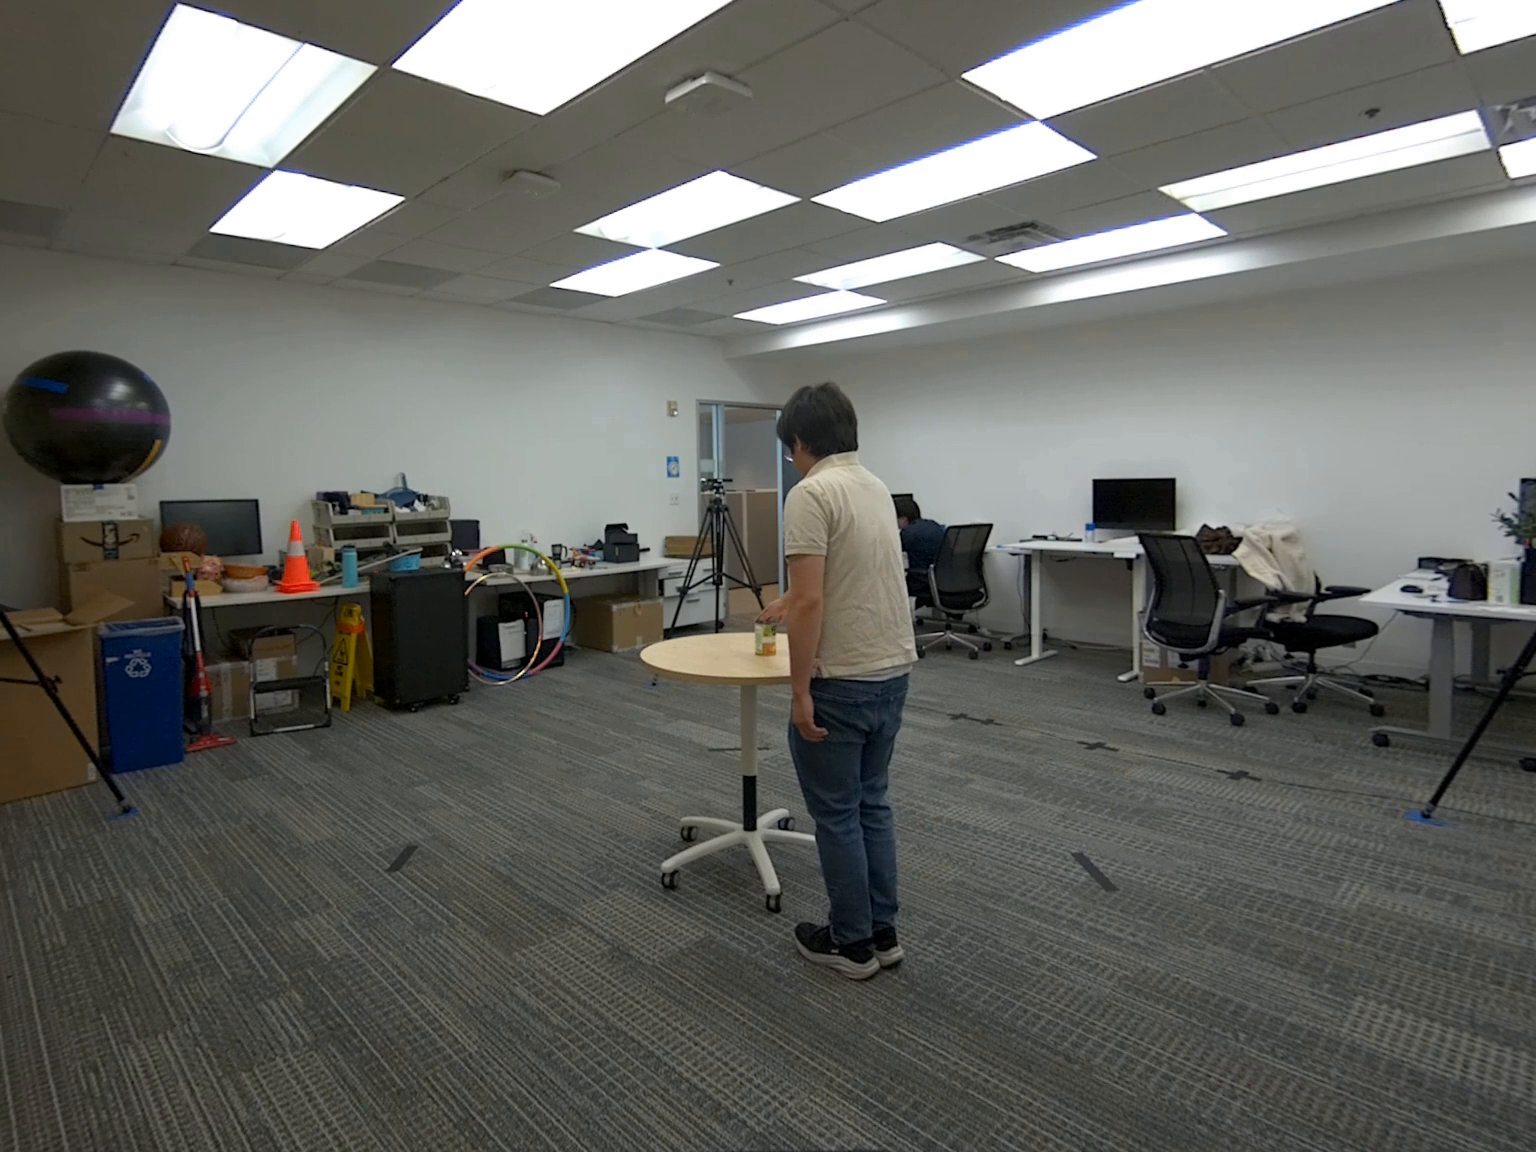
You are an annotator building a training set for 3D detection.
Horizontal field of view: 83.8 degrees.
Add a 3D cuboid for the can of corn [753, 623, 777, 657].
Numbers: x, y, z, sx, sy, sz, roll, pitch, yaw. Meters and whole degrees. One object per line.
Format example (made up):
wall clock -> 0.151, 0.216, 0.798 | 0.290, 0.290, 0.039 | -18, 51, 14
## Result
can of corn -> -0.004, 0.219, 2.988 | 0.074, 0.110, 0.075 | -2, 7, -1
